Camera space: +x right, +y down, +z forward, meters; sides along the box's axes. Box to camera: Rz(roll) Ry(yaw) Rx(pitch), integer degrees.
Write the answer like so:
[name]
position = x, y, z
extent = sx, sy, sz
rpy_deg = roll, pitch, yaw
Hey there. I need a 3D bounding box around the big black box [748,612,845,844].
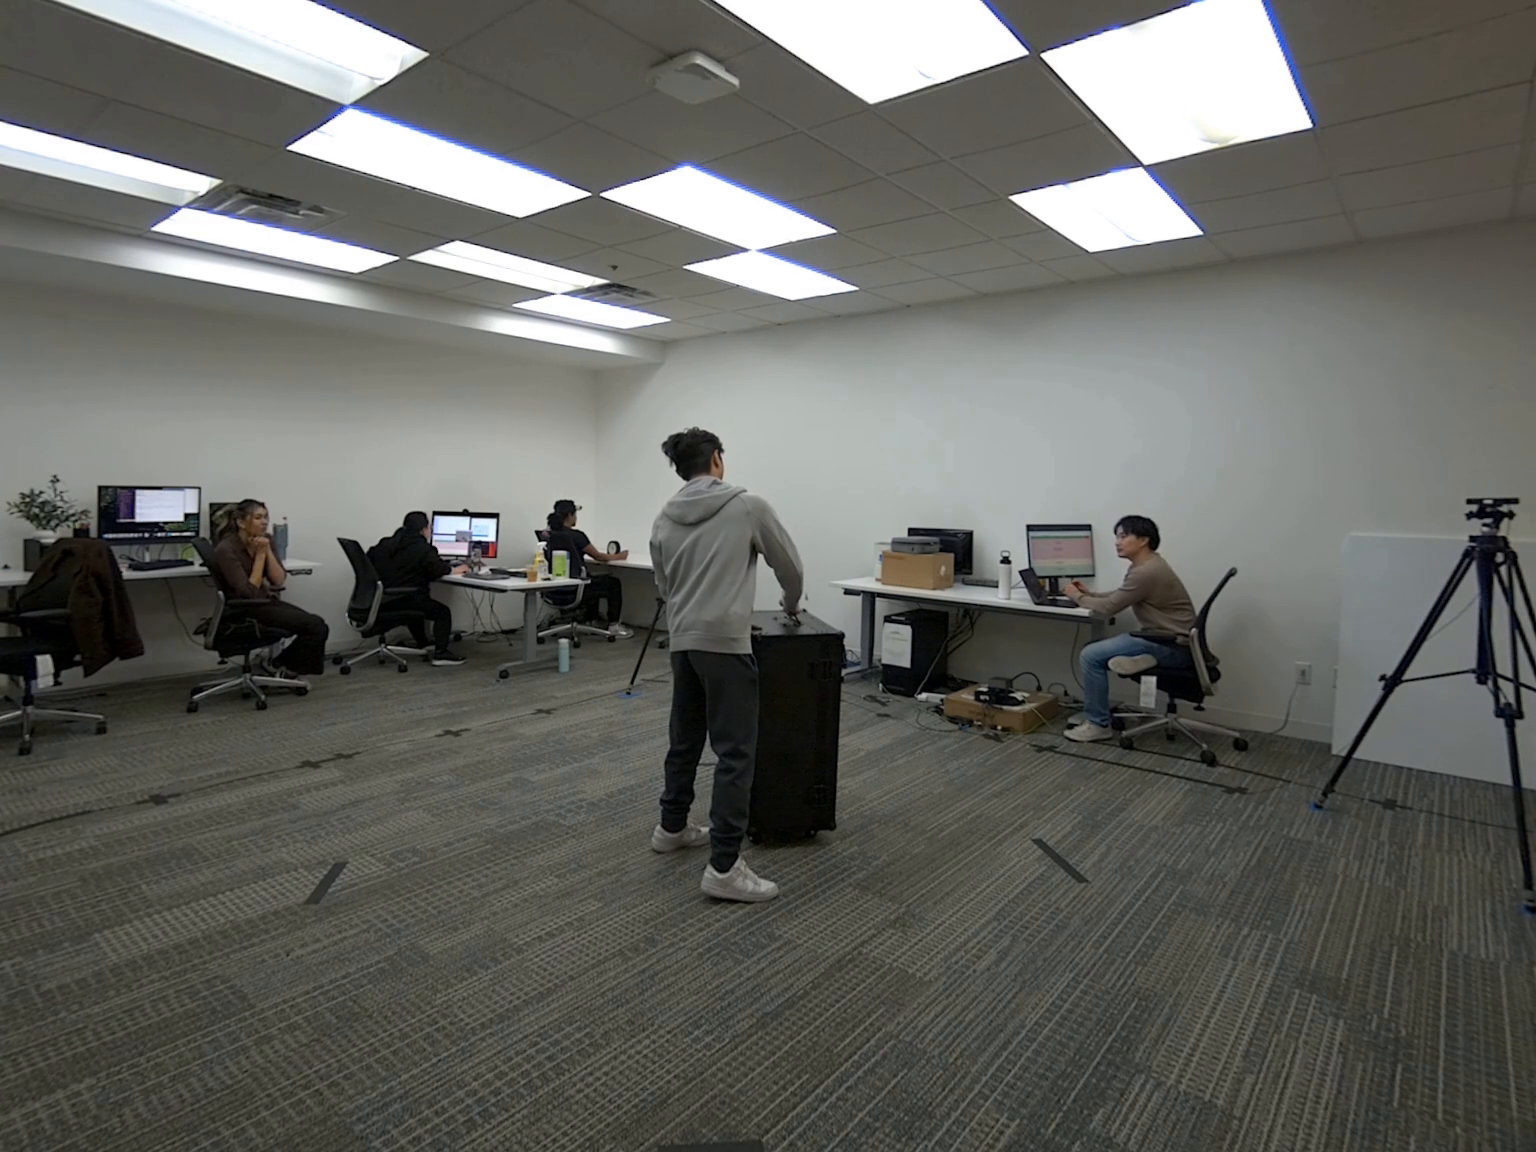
[big black box]
position = 0.024, 0.603, 3.478
extent = 0.390, 0.856, 0.533
rpy_deg = 0, 7, -15
